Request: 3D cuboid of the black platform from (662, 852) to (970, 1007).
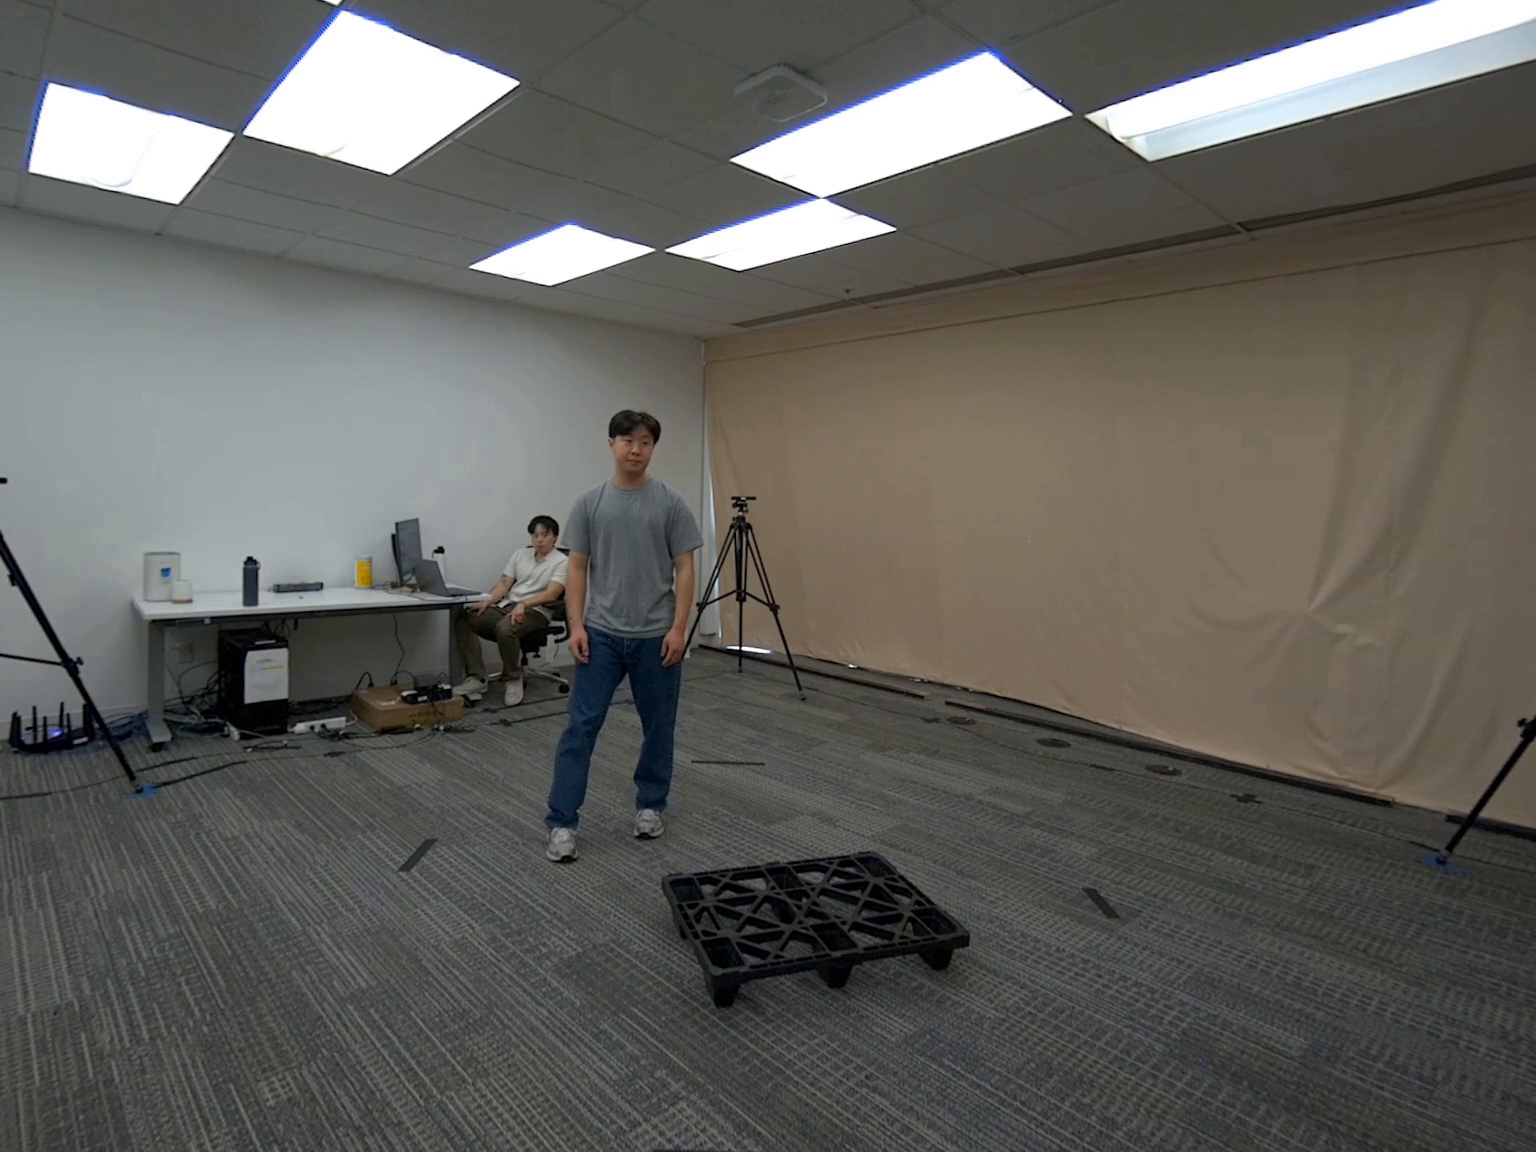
[{"bbox_3d":[0.110,1.088,2.628,0.794,0.143,0.616,0,5,-19],"label":"black platform"}]
